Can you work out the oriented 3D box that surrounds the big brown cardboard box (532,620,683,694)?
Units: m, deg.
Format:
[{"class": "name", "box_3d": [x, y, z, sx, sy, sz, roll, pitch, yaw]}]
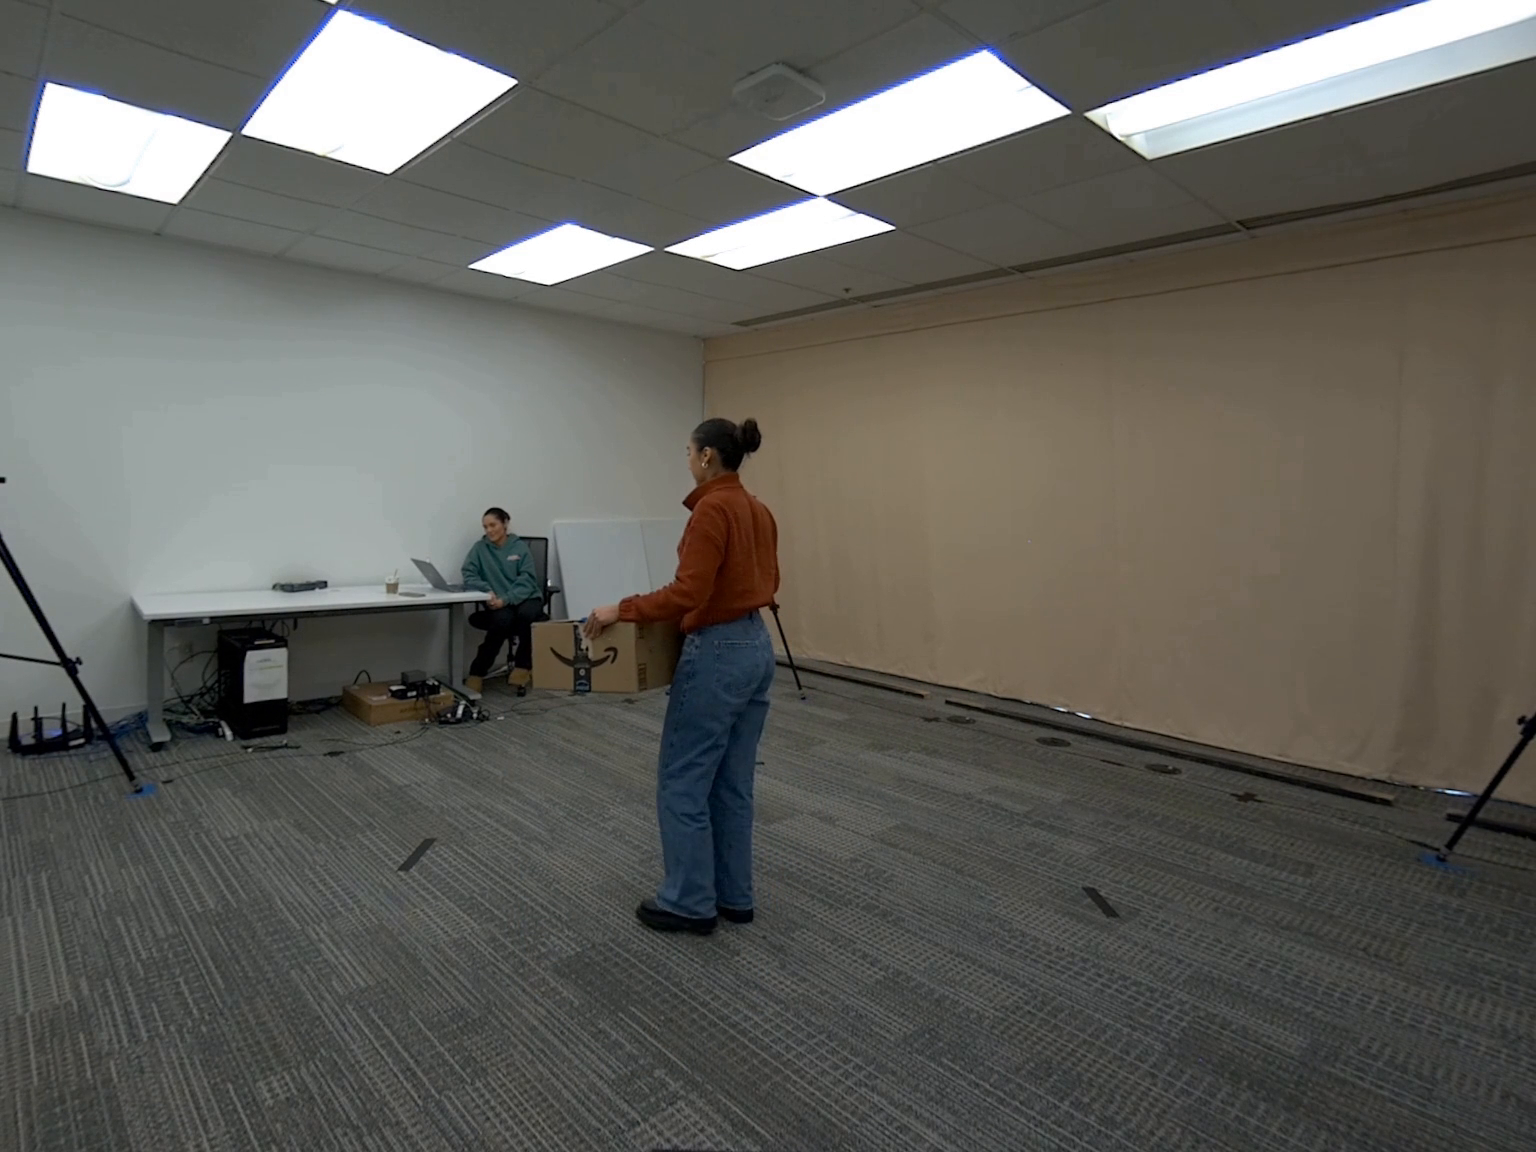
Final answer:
[{"class": "big brown cardboard box", "box_3d": [-0.454, 0.247, 2.872, 0.425, 0.233, 0.578, -3, 1, 26]}]
